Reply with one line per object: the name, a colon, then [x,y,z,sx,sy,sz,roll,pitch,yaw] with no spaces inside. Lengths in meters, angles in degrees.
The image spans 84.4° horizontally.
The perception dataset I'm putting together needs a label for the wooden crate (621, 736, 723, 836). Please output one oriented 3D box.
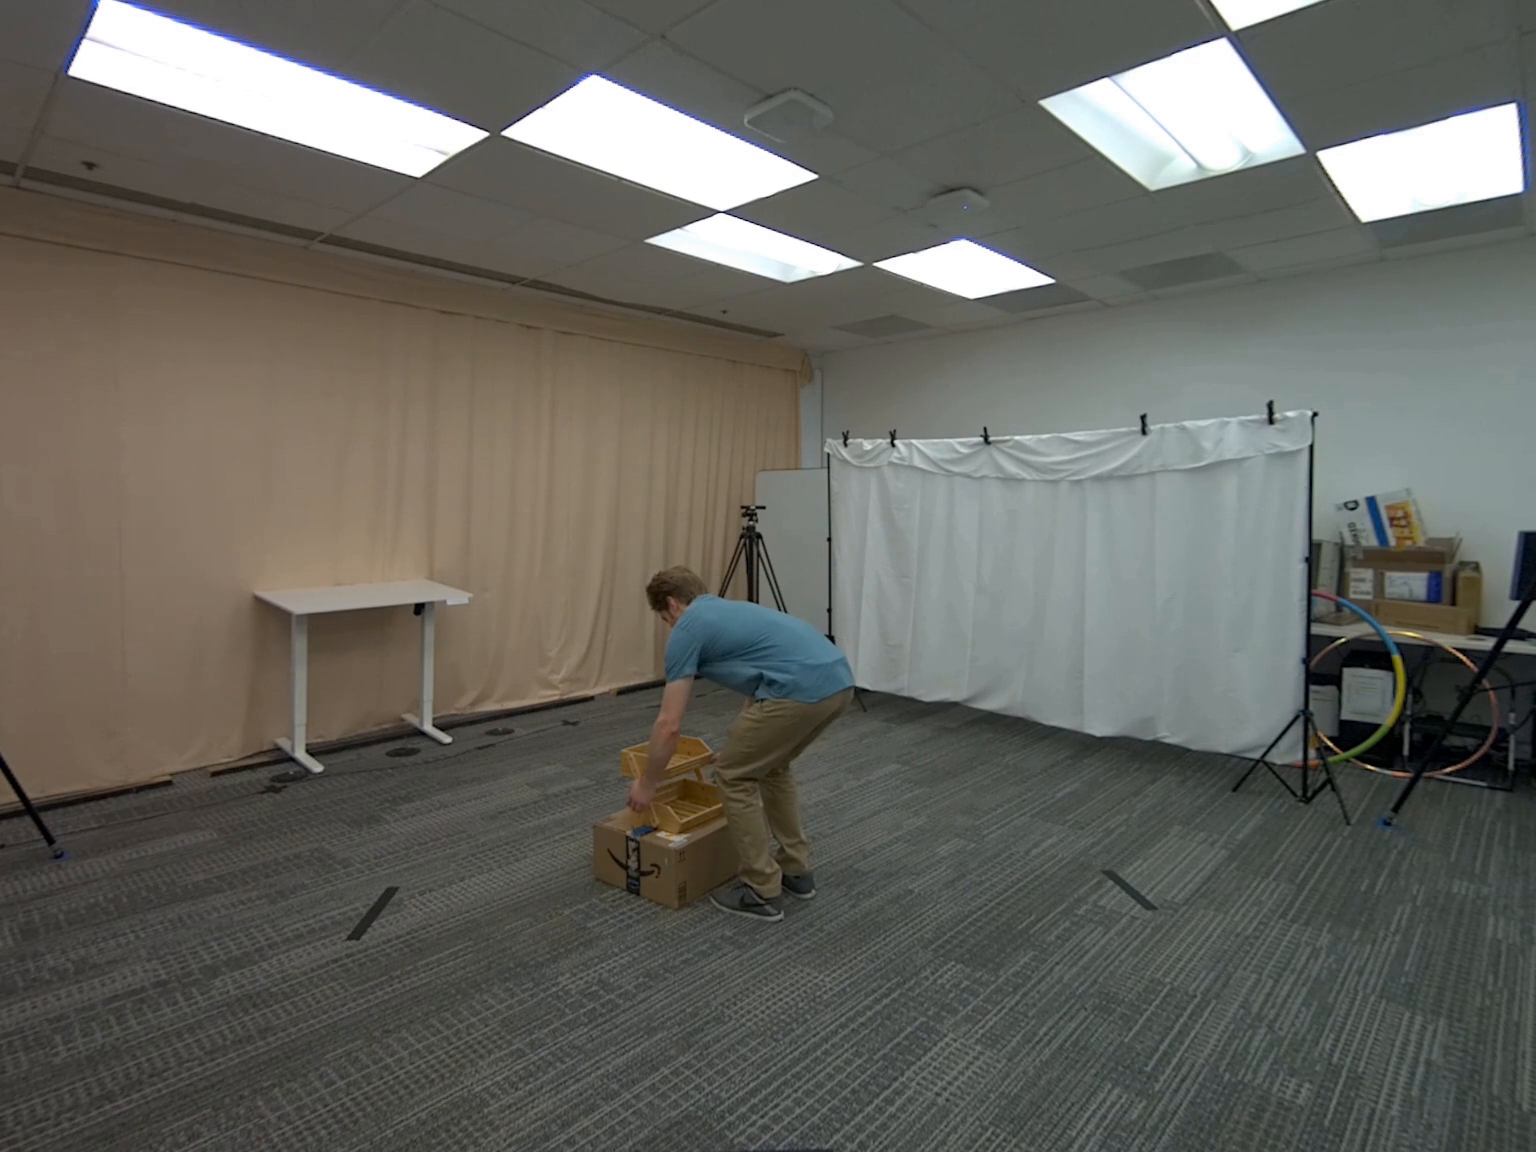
wooden crate: [-0.350,0.782,3.215,0.311,0.273,0.315,1,3,38]
